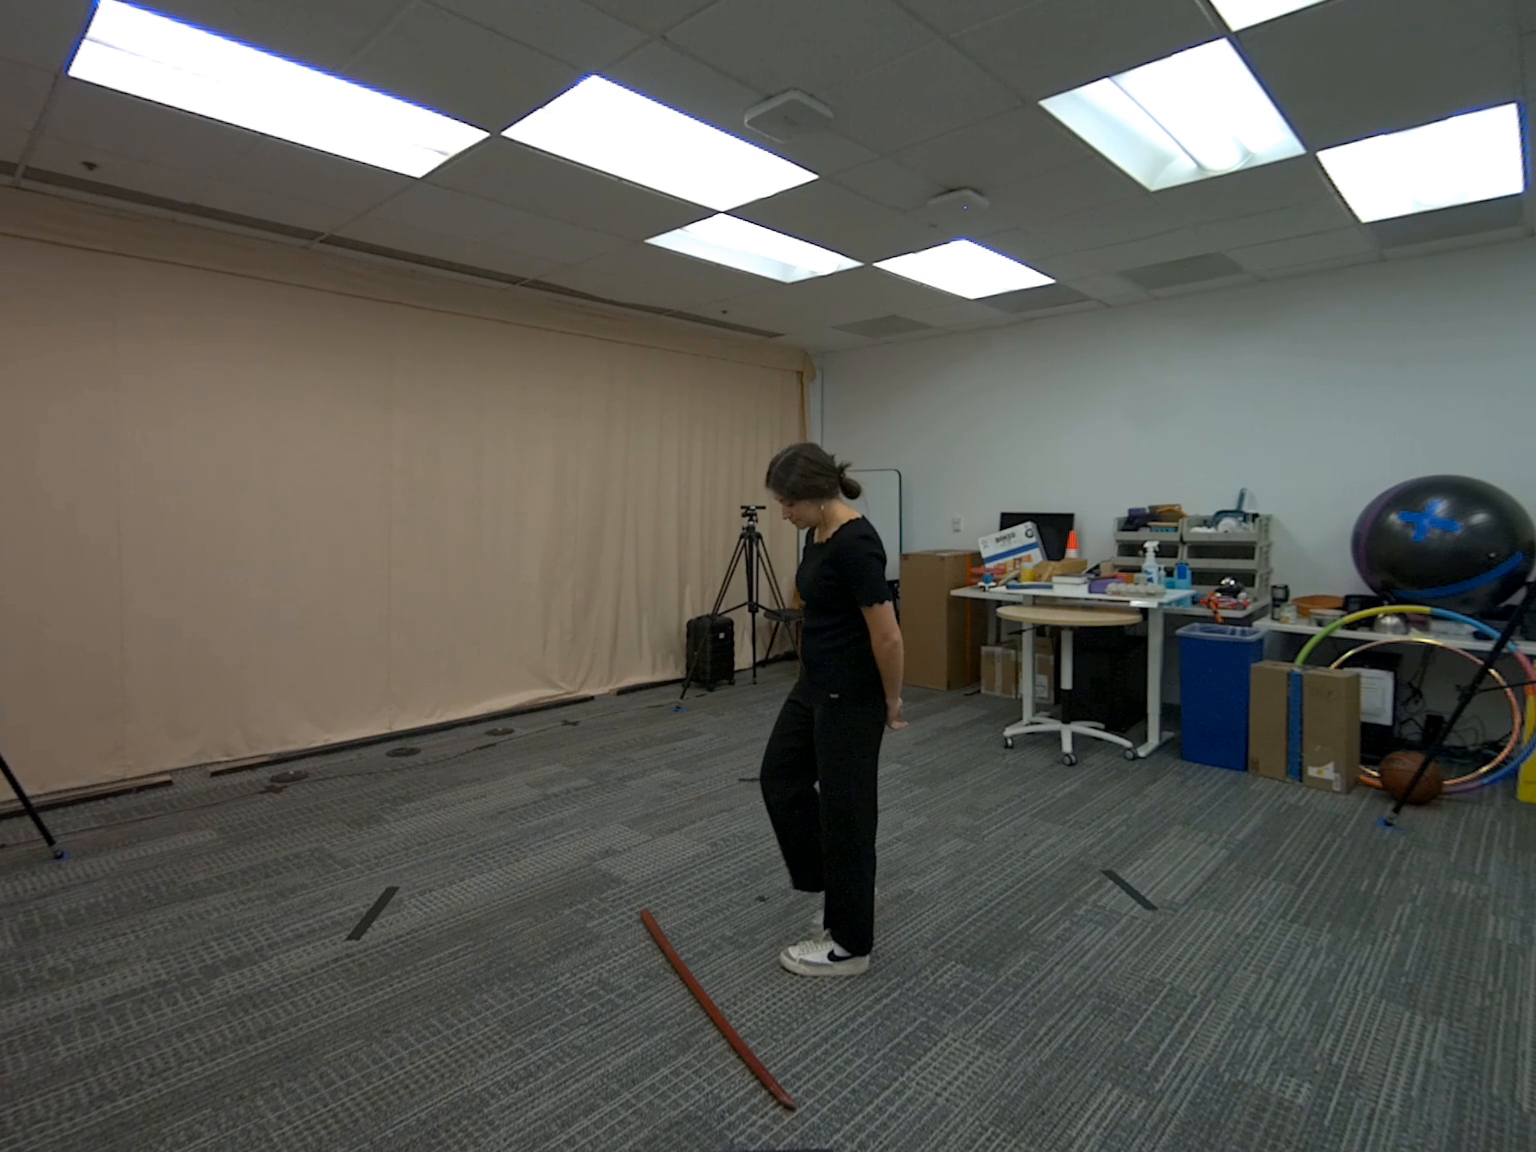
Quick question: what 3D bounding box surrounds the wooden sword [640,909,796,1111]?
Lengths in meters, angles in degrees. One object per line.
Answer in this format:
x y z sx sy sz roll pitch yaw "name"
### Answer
-0.180 1.171 2.404 0.050 0.024 1.052 6 1 -27 "wooden sword"
